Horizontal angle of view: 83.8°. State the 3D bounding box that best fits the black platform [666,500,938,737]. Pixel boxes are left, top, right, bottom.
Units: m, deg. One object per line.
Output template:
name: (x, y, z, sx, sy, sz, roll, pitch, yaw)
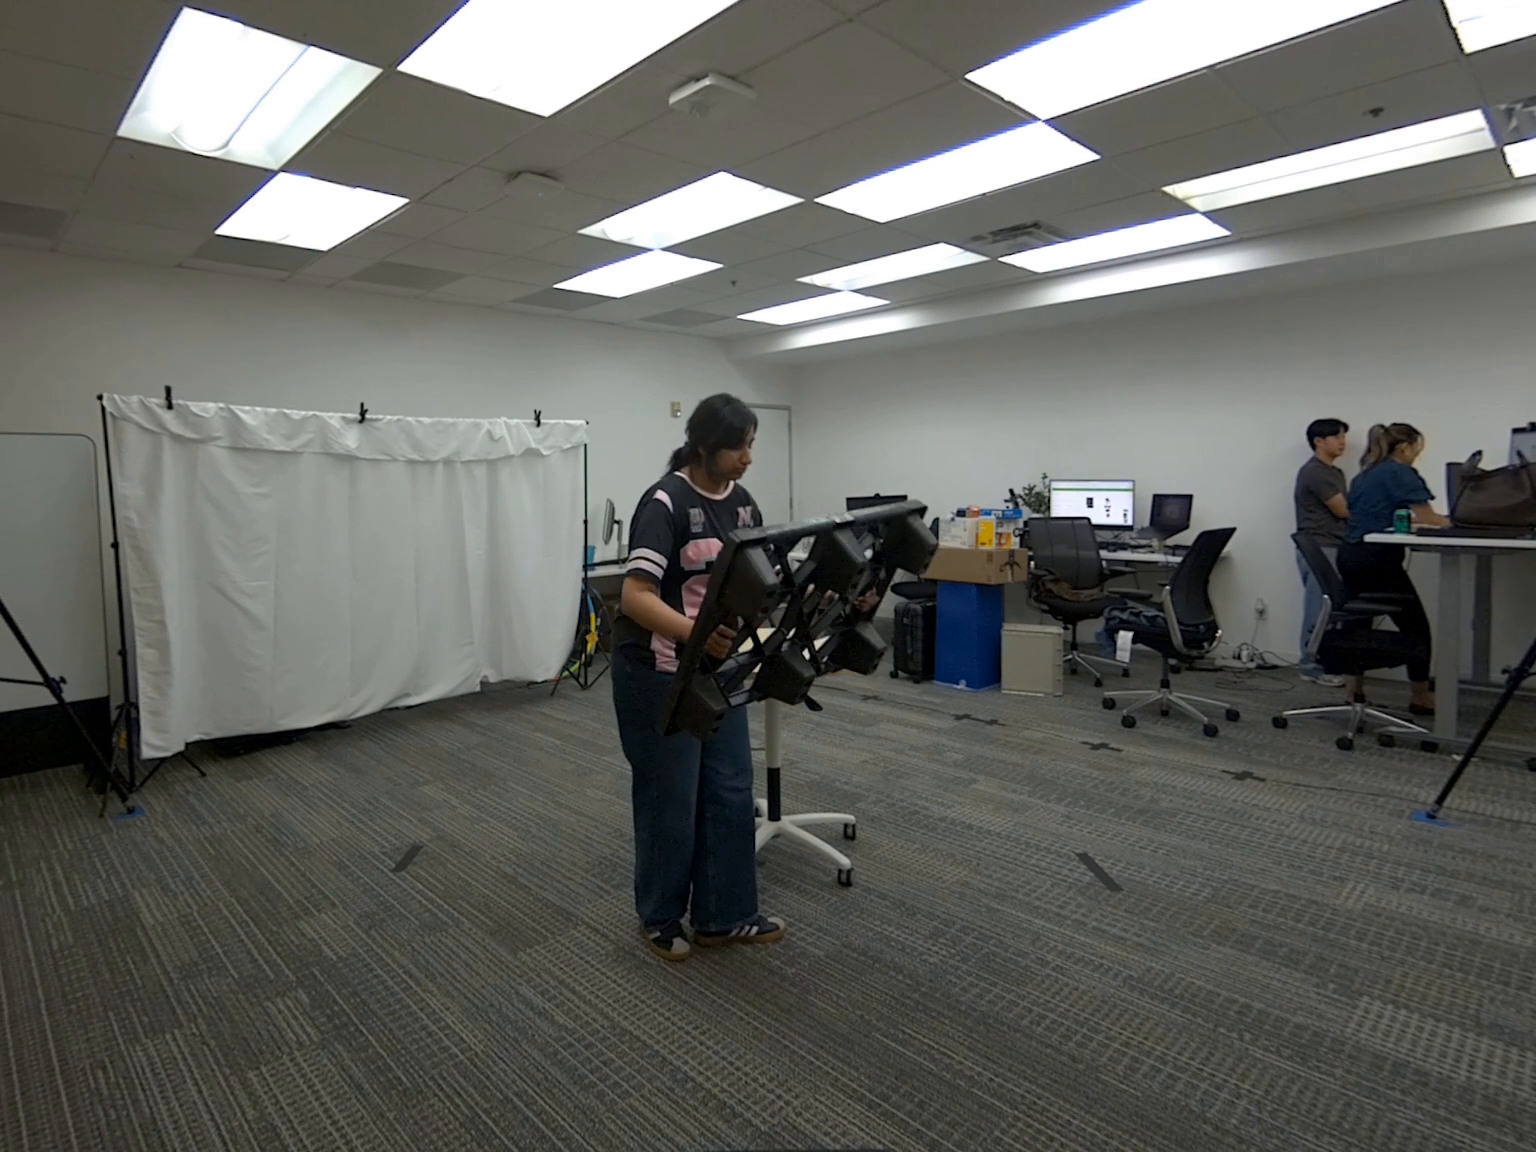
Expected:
black platform: (0.117, 0.125, 2.265, 0.148, 0.597, 0.787, 37, 32, 31)
